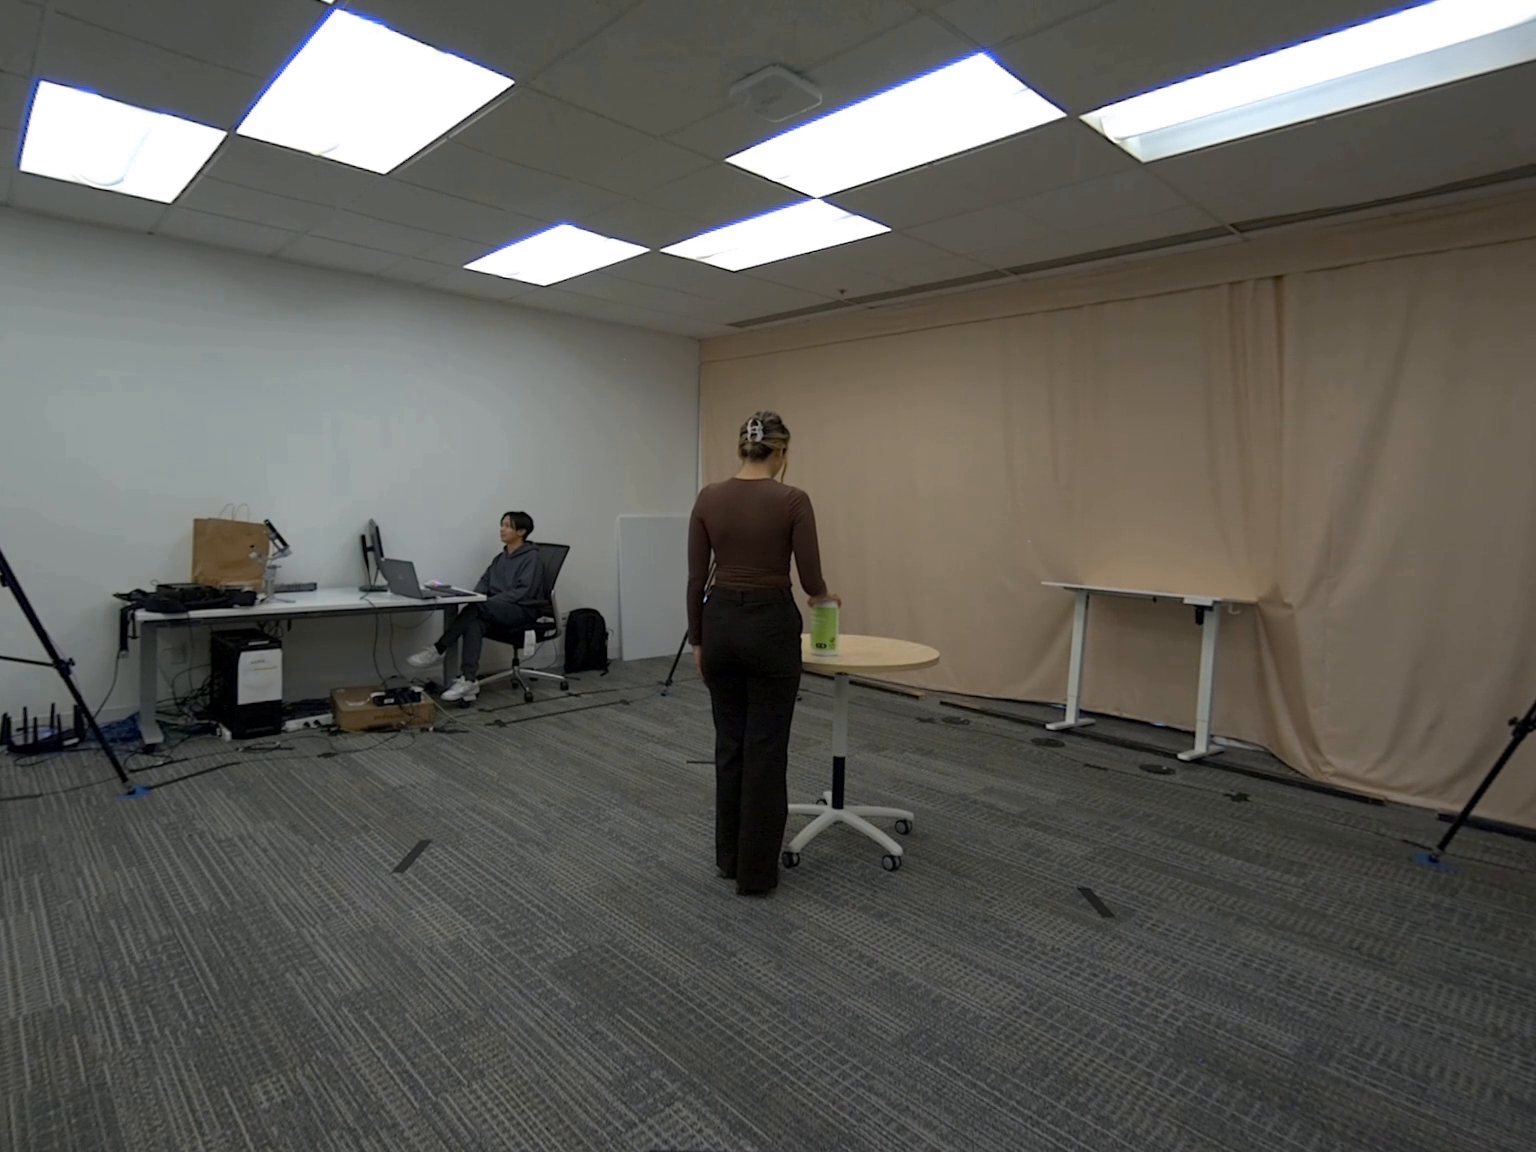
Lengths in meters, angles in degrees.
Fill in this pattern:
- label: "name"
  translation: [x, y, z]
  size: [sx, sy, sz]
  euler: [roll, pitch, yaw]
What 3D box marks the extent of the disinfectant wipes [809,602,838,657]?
- label: "disinfectant wipes"
  translation: [0.213, 0.195, 3.260]
  size: [0.118, 0.217, 0.118]
  euler: [-1, 5, -1]
